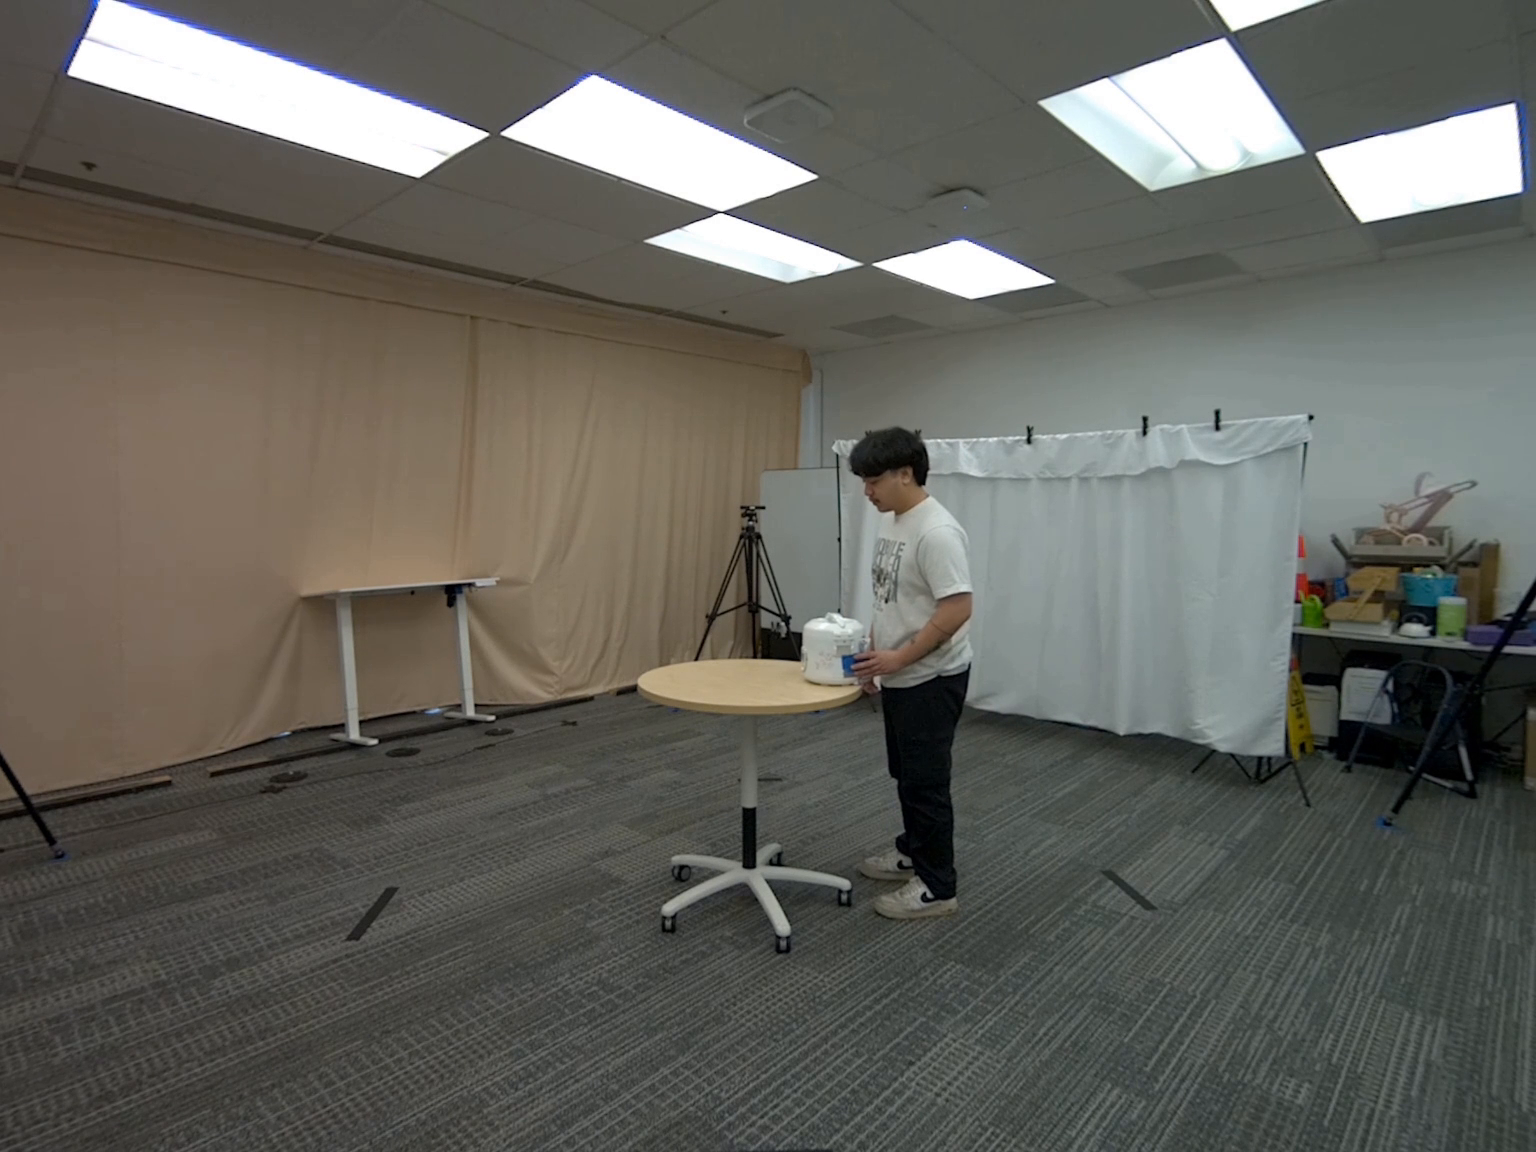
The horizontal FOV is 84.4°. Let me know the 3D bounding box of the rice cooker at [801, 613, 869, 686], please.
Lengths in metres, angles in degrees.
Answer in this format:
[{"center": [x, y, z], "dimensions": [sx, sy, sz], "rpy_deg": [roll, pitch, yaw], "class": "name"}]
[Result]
[{"center": [0.227, 0.246, 2.857], "dimensions": [0.215, 0.232, 0.223], "rpy_deg": [1, 3, -10], "class": "rice cooker"}]
